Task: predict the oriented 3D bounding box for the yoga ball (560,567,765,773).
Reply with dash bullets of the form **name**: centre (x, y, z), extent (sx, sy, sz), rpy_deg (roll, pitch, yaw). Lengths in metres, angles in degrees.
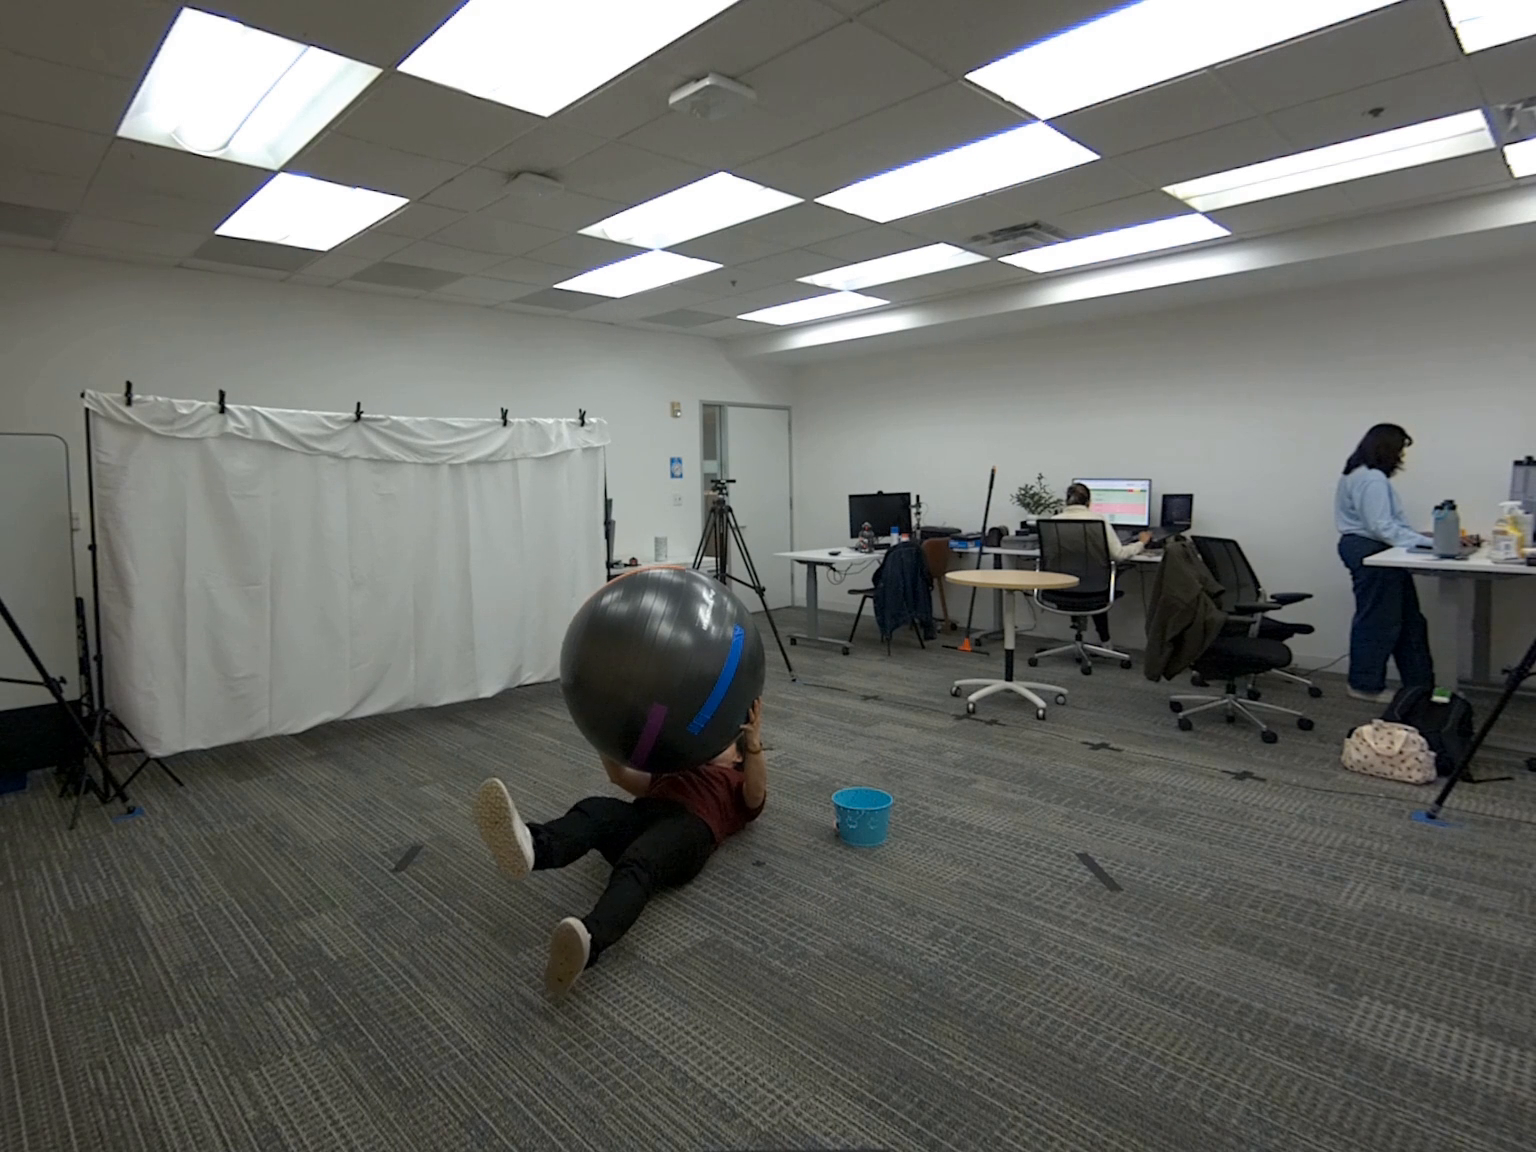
- **yoga ball**: centre (-0.391, 0.344, 3.183), extent (0.757, 0.755, 0.762), rpy_deg (-1, 5, -2)
